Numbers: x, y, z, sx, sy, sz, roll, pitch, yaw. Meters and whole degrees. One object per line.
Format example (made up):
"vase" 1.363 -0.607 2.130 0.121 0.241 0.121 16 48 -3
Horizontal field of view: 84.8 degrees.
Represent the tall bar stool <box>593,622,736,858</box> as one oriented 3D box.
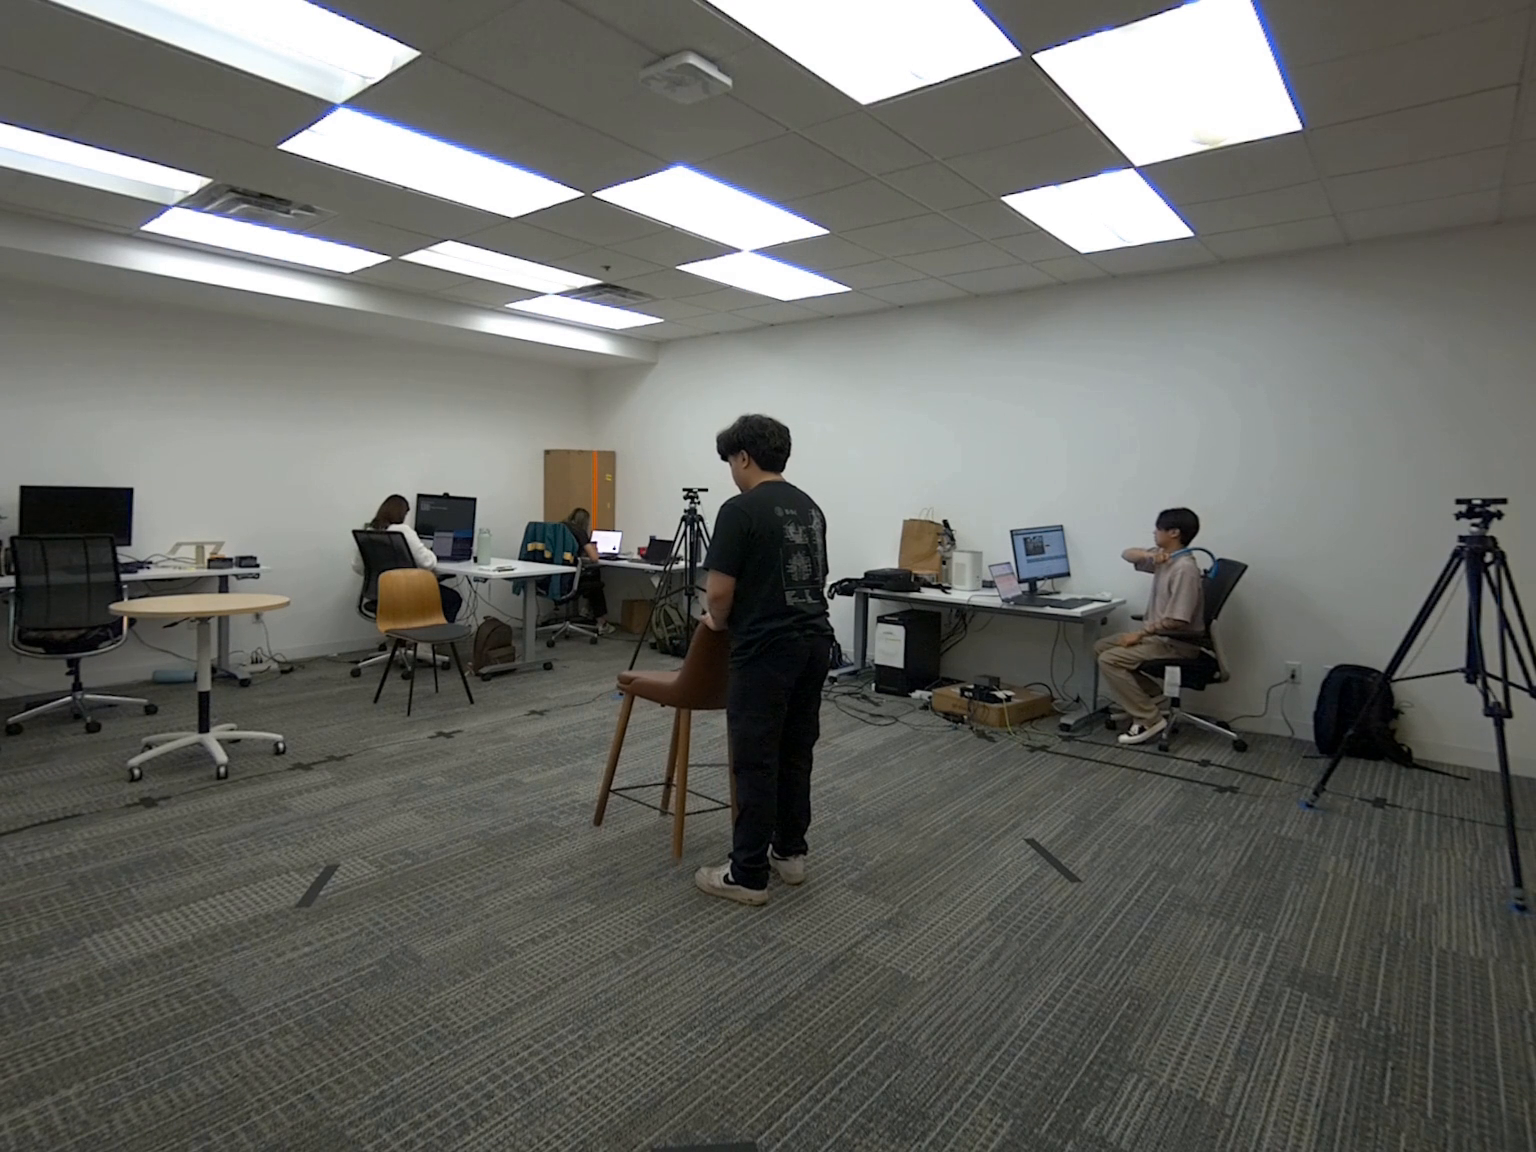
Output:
"tall bar stool" -0.345 0.582 3.367 0.484 0.891 0.440 7 -2 39
